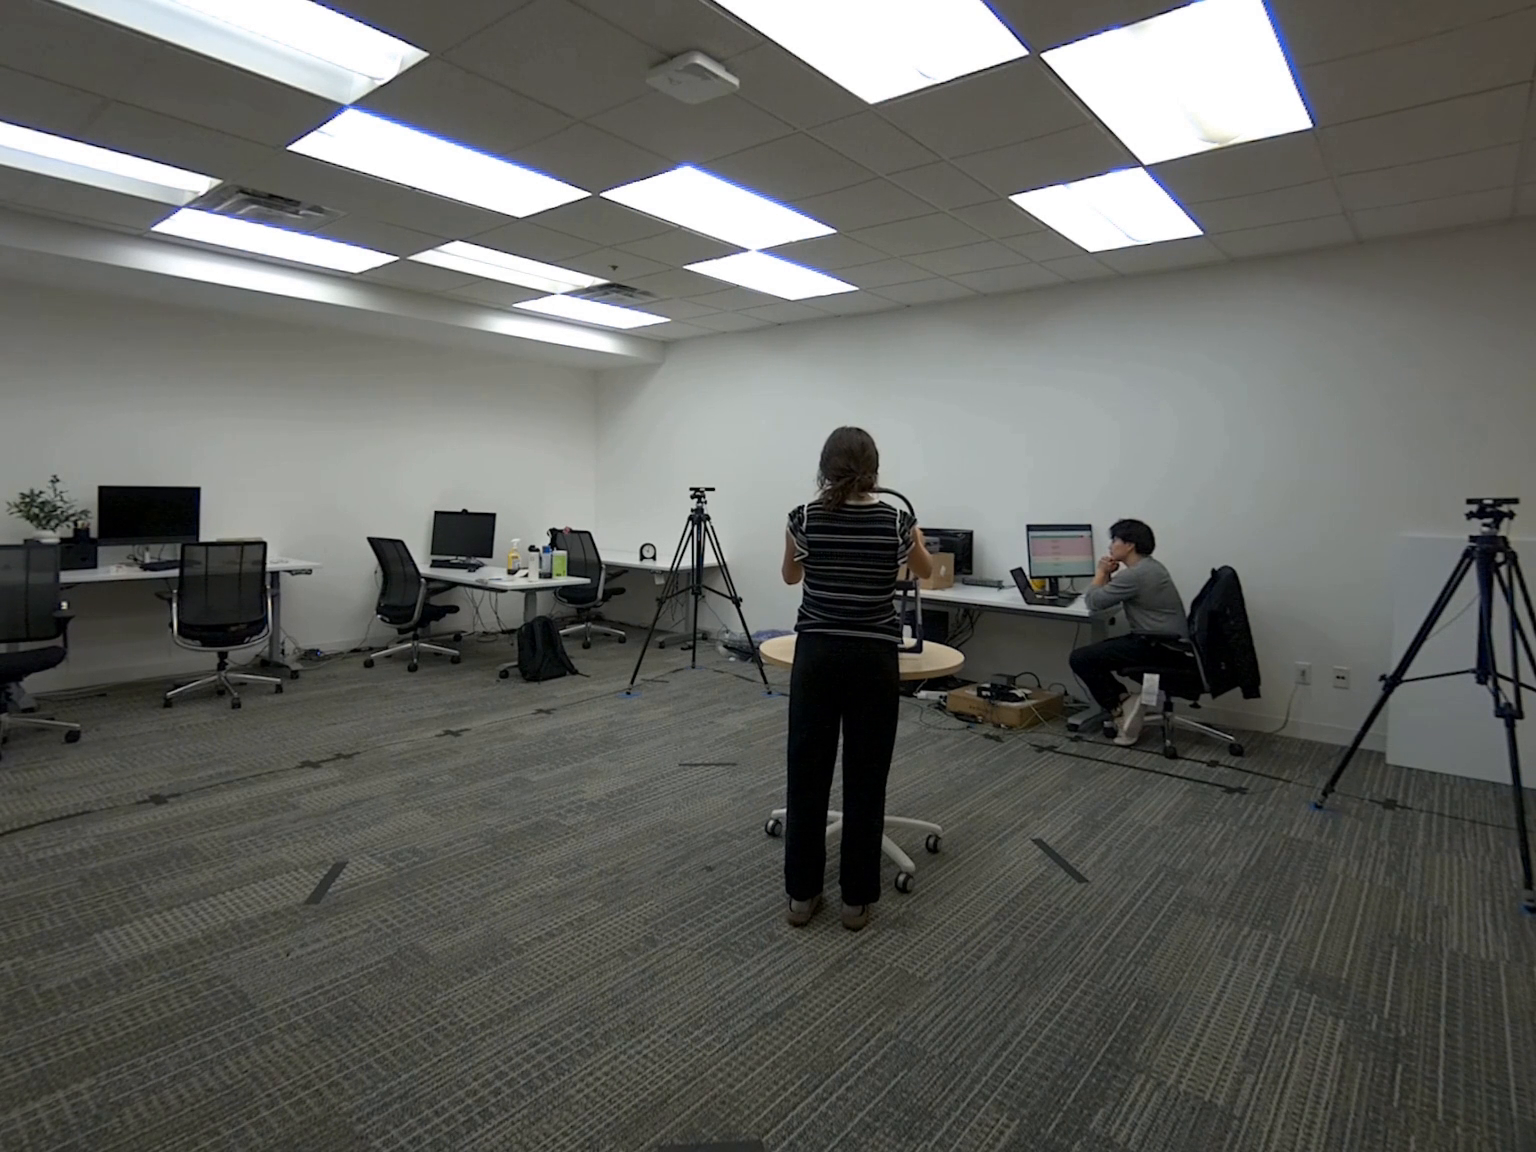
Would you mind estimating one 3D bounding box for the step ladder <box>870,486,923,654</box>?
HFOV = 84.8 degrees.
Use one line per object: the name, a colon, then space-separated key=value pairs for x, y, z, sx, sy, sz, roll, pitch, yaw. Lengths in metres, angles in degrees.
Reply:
step ladder: x=0.344 y=-0.027 z=3.257 sx=0.429 sy=0.605 sz=0.351 roll=-2 pitch=2 yaw=-3
